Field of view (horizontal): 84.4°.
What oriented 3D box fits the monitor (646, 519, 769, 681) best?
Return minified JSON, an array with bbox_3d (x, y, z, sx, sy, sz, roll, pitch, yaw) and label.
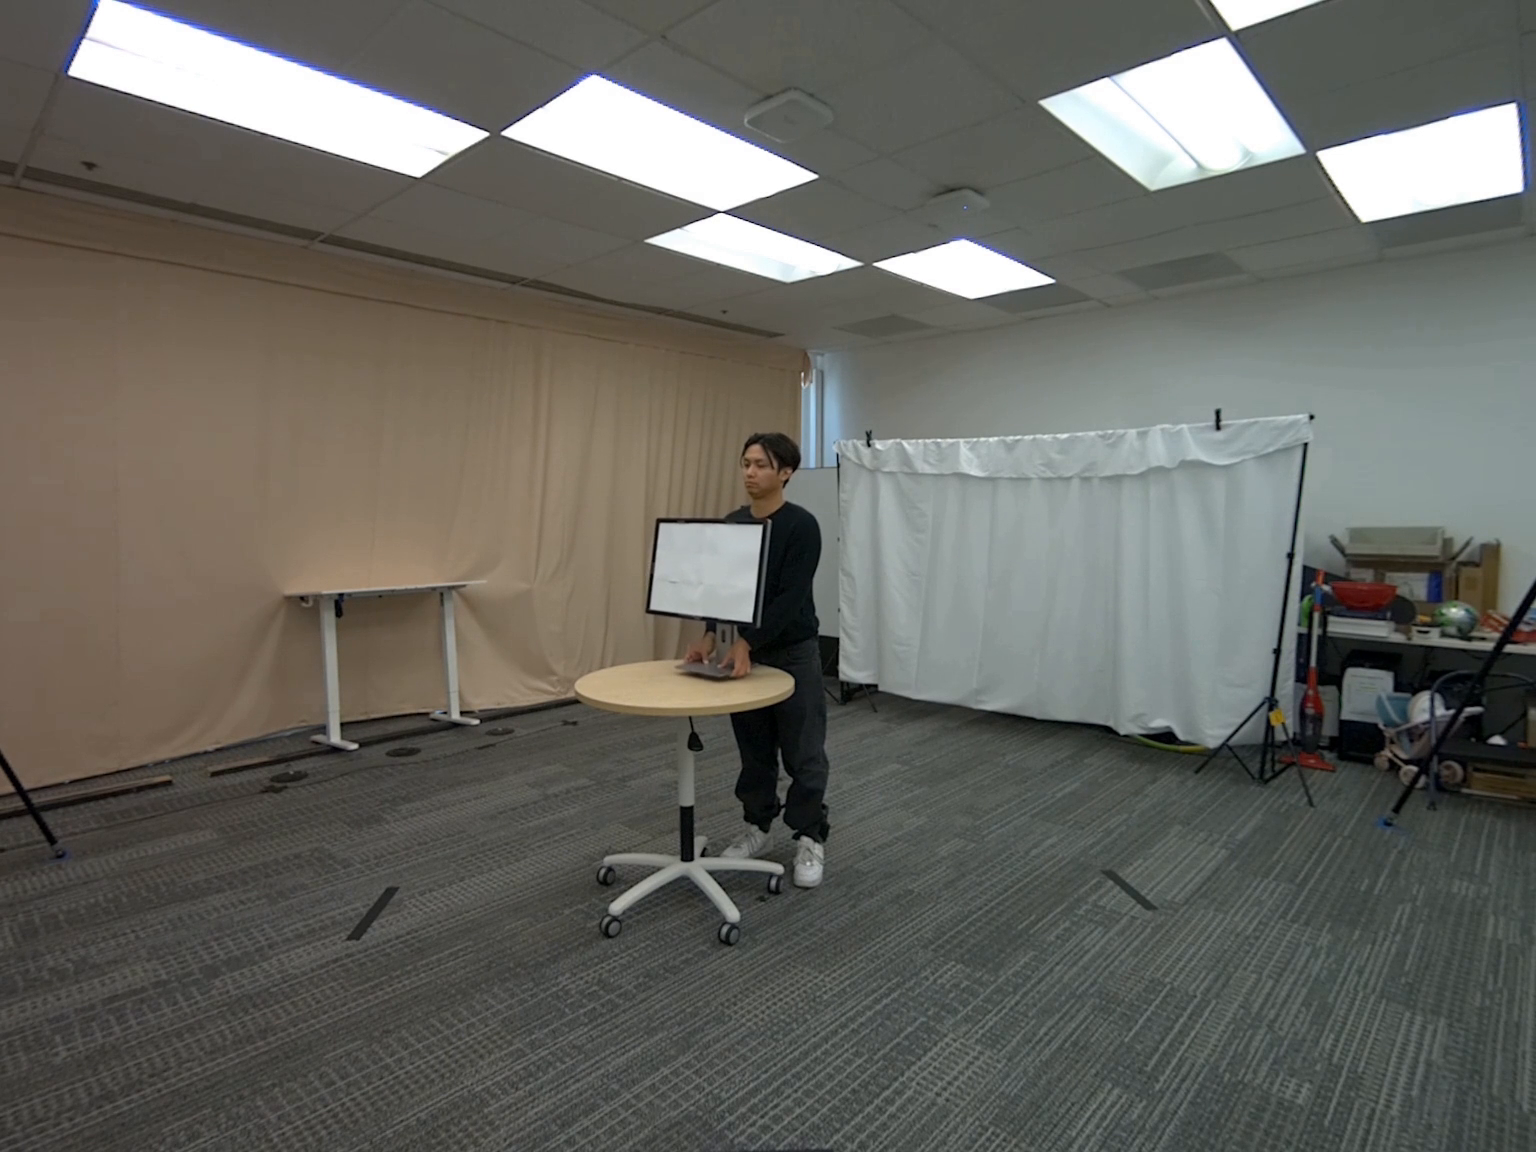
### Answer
[{"bbox_3d":[-0.197,0.065,3.027,0.557,0.521,0.182,3,7,41],"label":"monitor"}]
